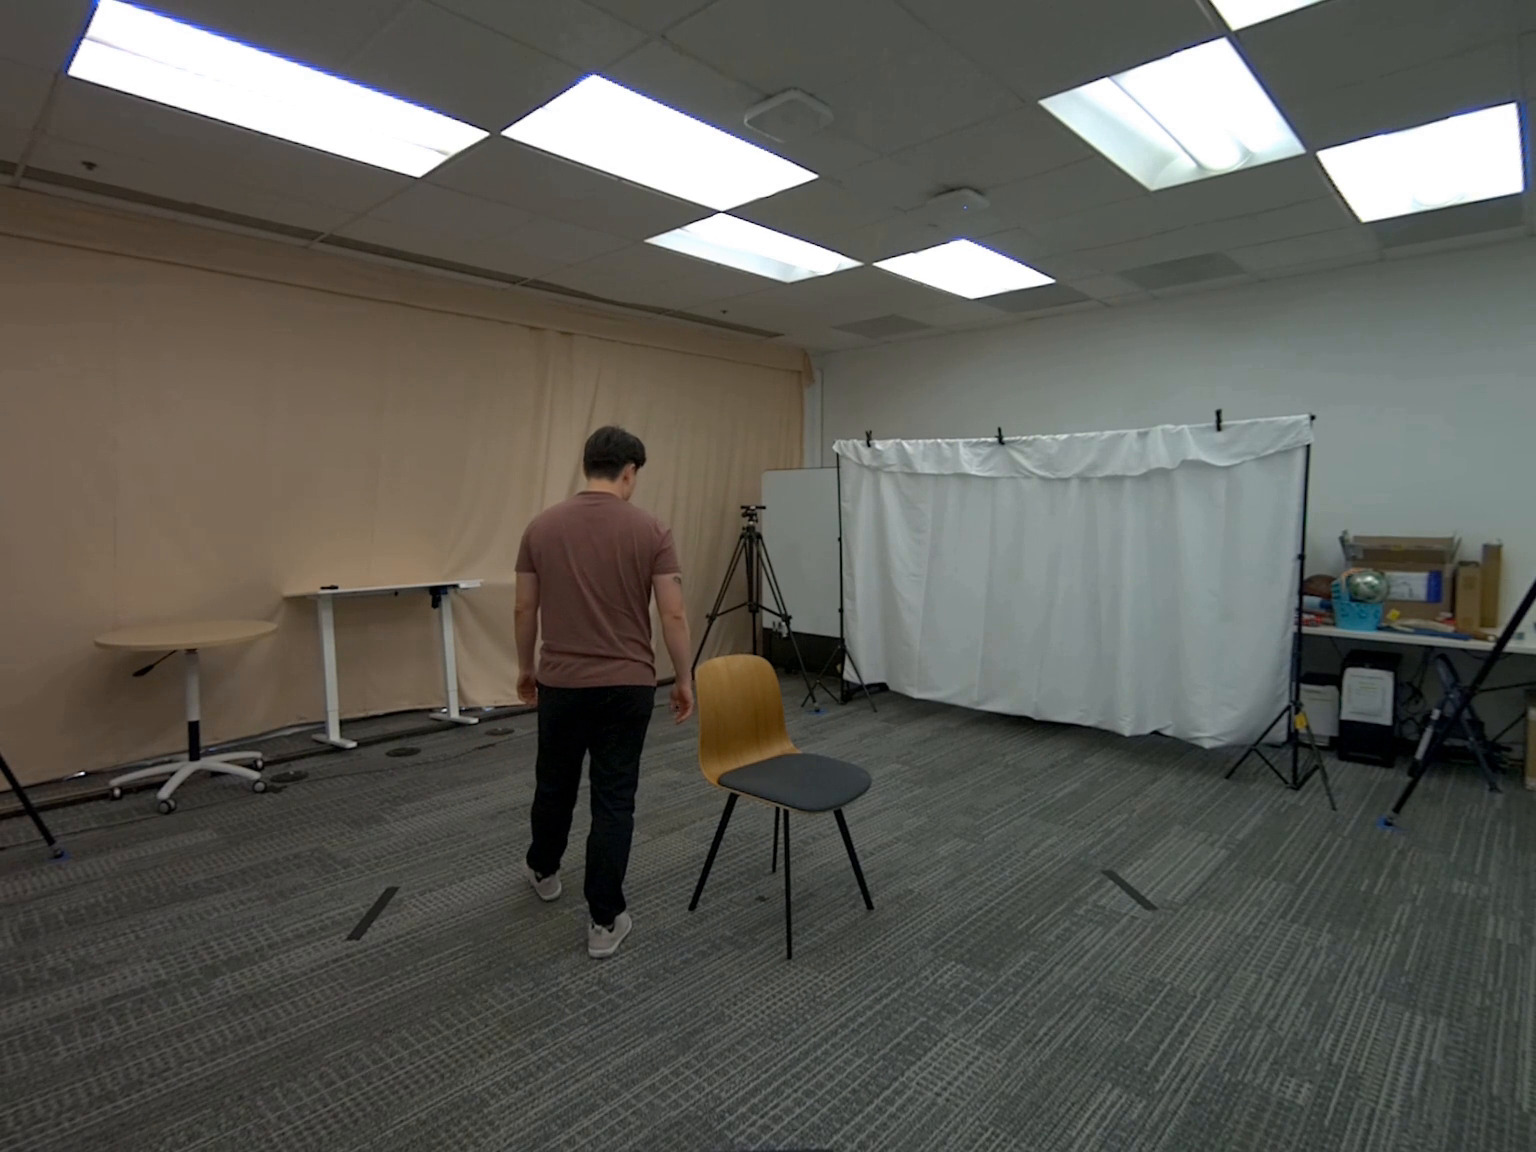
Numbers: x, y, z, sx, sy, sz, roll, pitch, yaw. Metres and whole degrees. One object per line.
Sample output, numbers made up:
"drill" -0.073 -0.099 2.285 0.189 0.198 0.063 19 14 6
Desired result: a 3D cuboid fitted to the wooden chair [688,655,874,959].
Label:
"wooden chair" 0.056 0.727 2.864 0.539 0.877 0.463 -3 1 43
